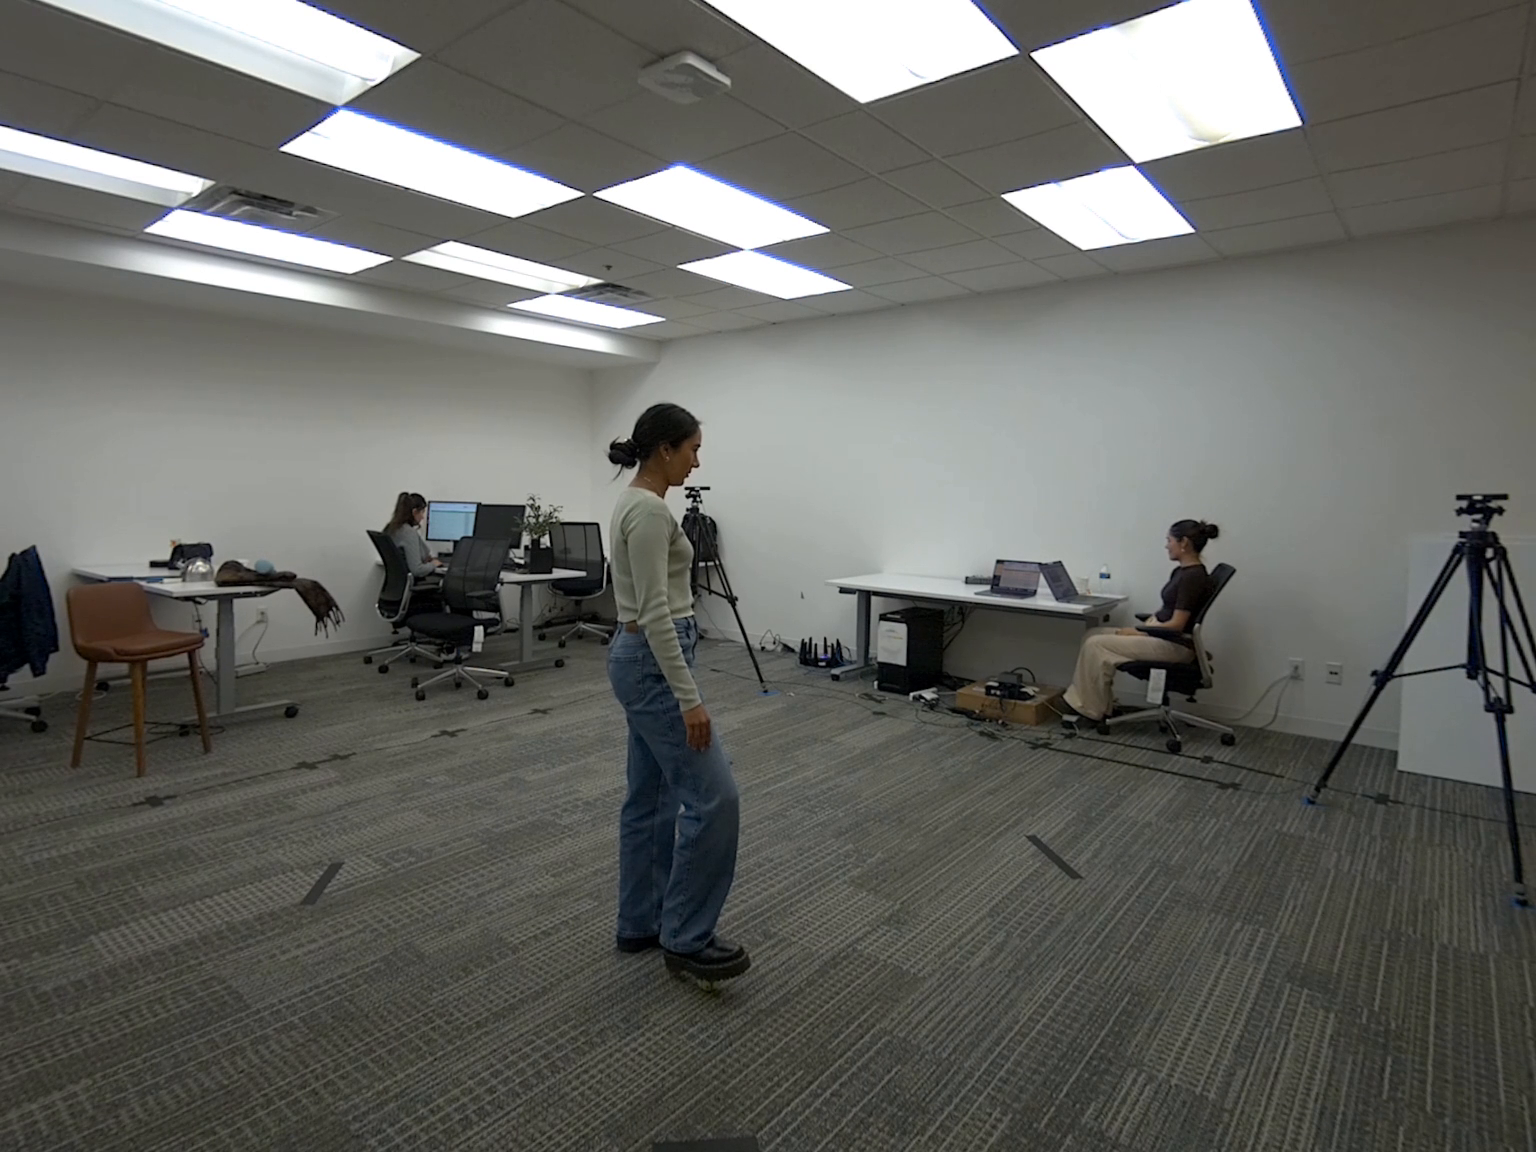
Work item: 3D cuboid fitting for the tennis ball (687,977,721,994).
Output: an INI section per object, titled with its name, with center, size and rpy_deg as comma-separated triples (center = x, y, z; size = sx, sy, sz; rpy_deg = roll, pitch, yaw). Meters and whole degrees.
[tennis ball]
center = -0.169, 1.128, 2.351
size = 0.066, 0.066, 0.067
rpy_deg = 1, 4, -2
